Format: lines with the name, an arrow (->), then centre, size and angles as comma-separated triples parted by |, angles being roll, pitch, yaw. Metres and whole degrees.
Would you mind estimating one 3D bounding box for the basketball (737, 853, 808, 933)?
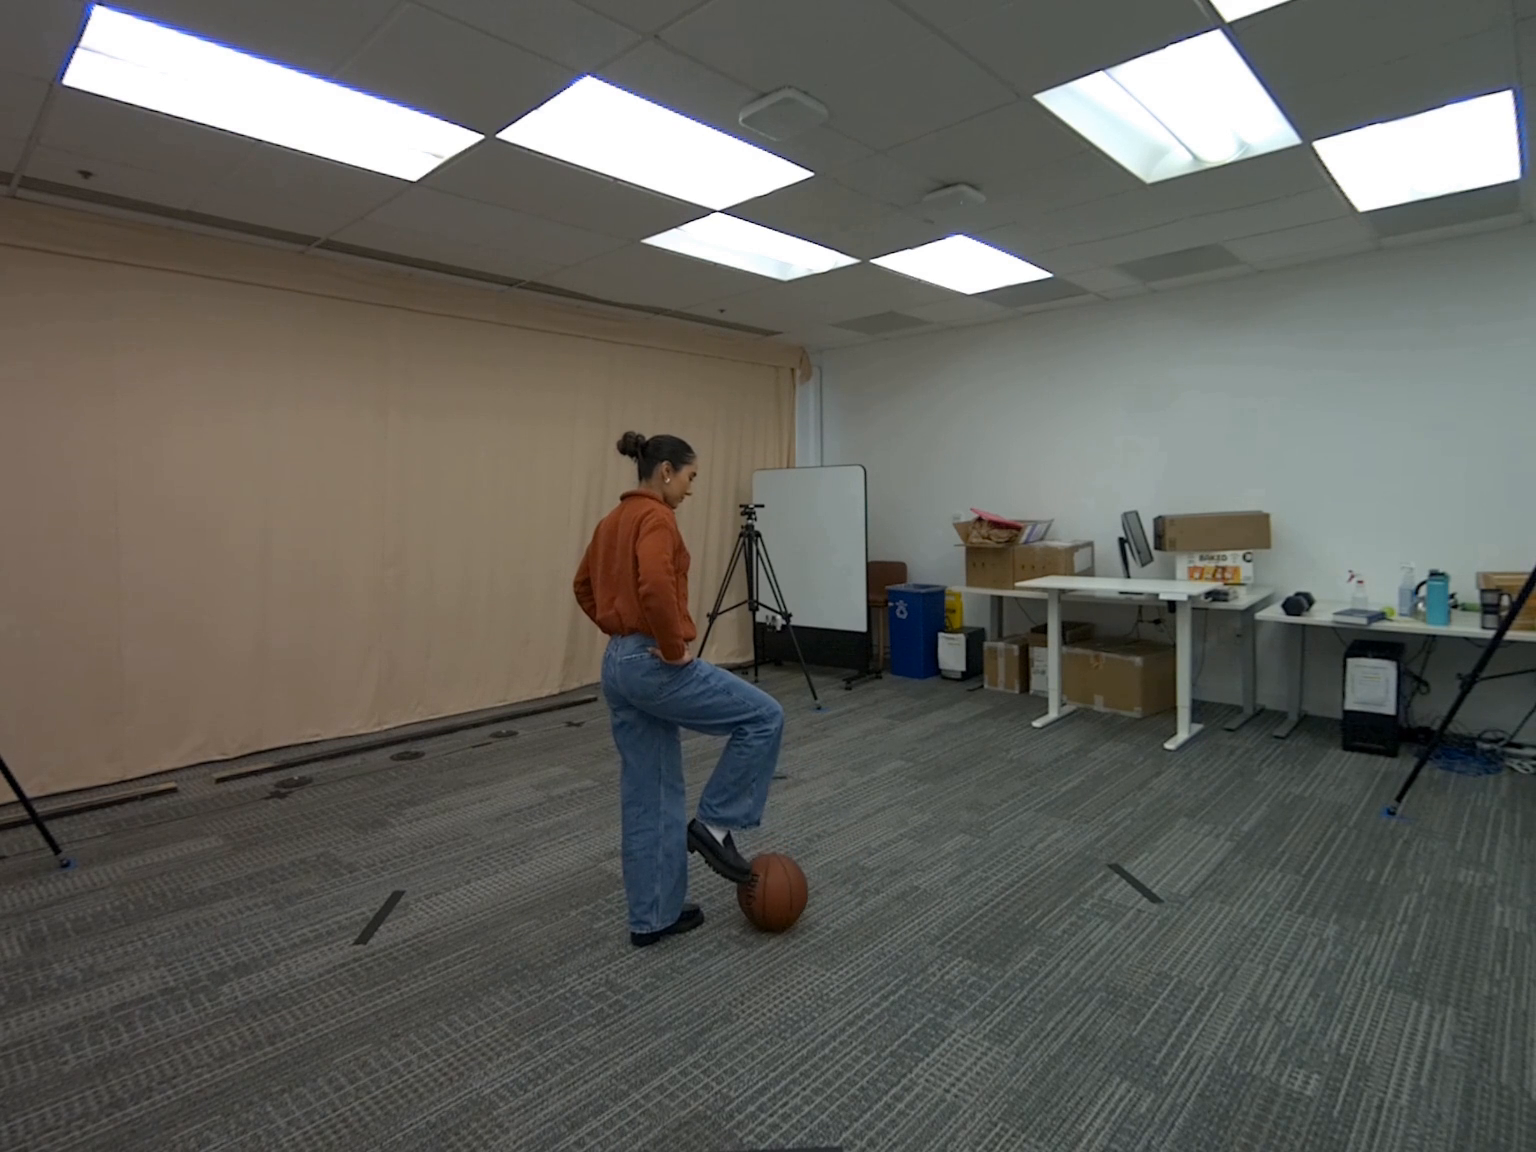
basketball -> 0.030, 1.036, 2.785 | 0.236, 0.235, 0.237 | -1, 4, -2
